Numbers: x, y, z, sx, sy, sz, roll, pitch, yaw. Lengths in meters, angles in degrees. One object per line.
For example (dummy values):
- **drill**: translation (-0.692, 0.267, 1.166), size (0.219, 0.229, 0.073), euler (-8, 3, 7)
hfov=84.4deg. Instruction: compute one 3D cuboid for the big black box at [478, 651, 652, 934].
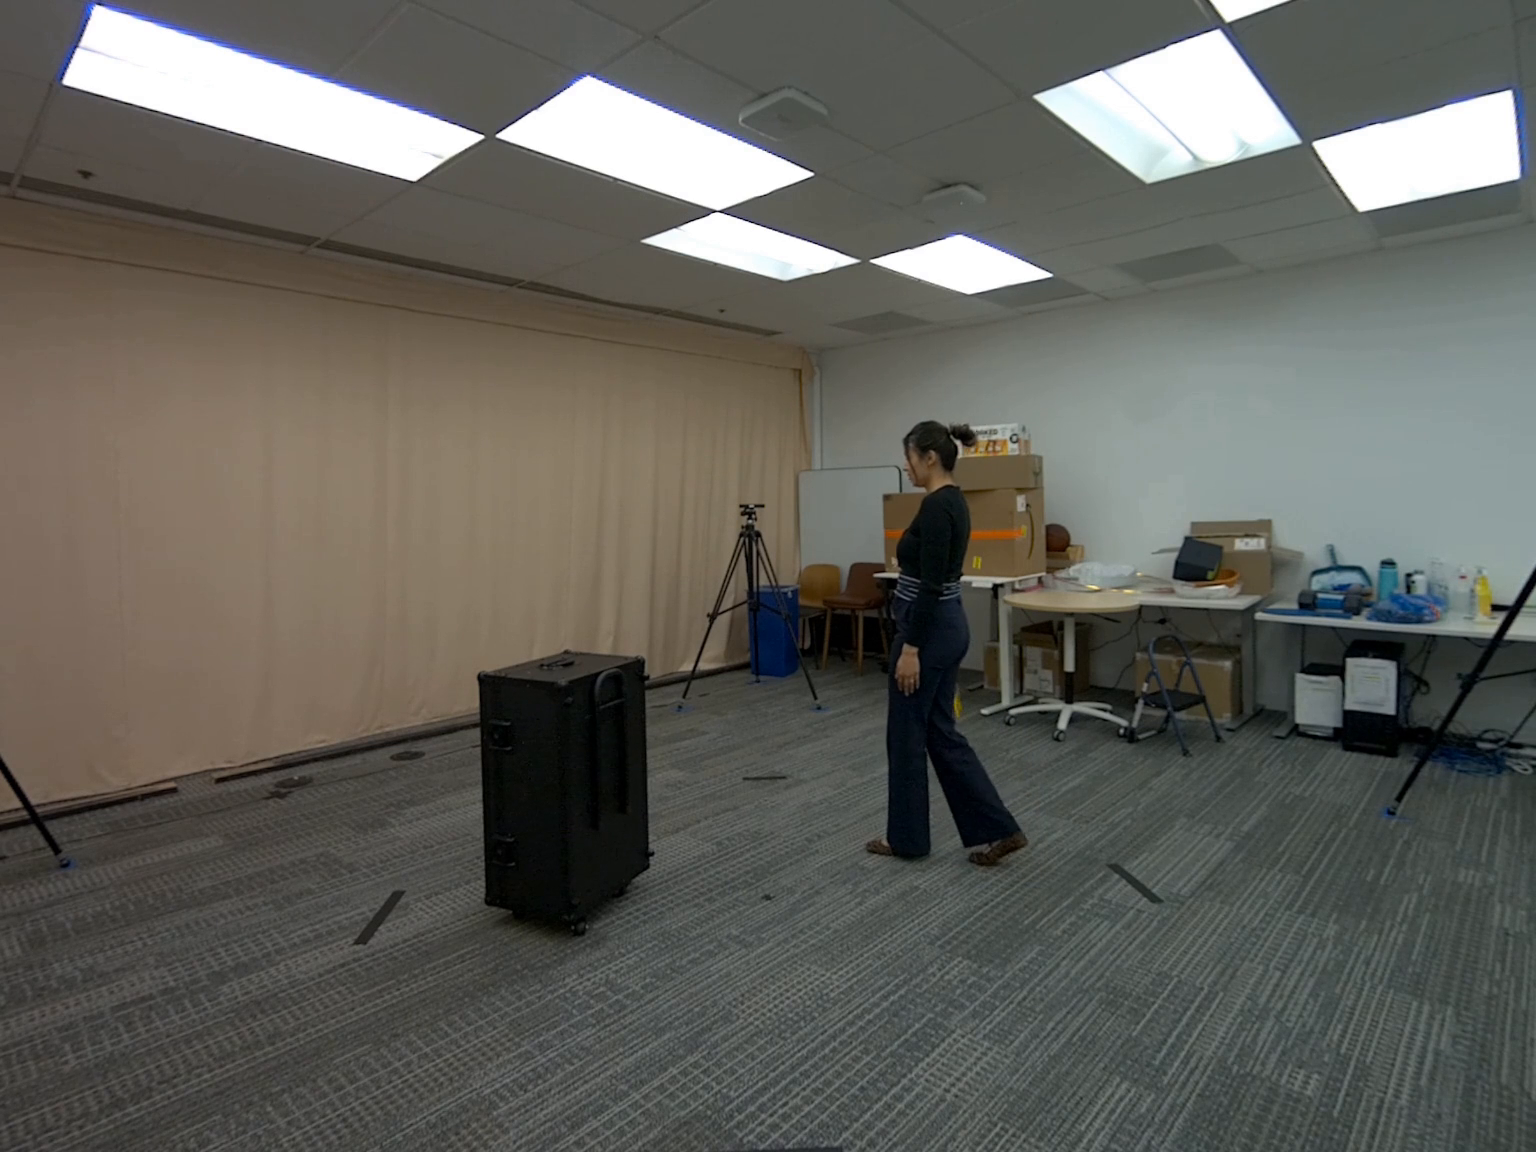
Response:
- **big black box**: translation (-0.684, 0.734, 2.939), size (0.406, 0.860, 0.509), euler (1, 4, 25)
